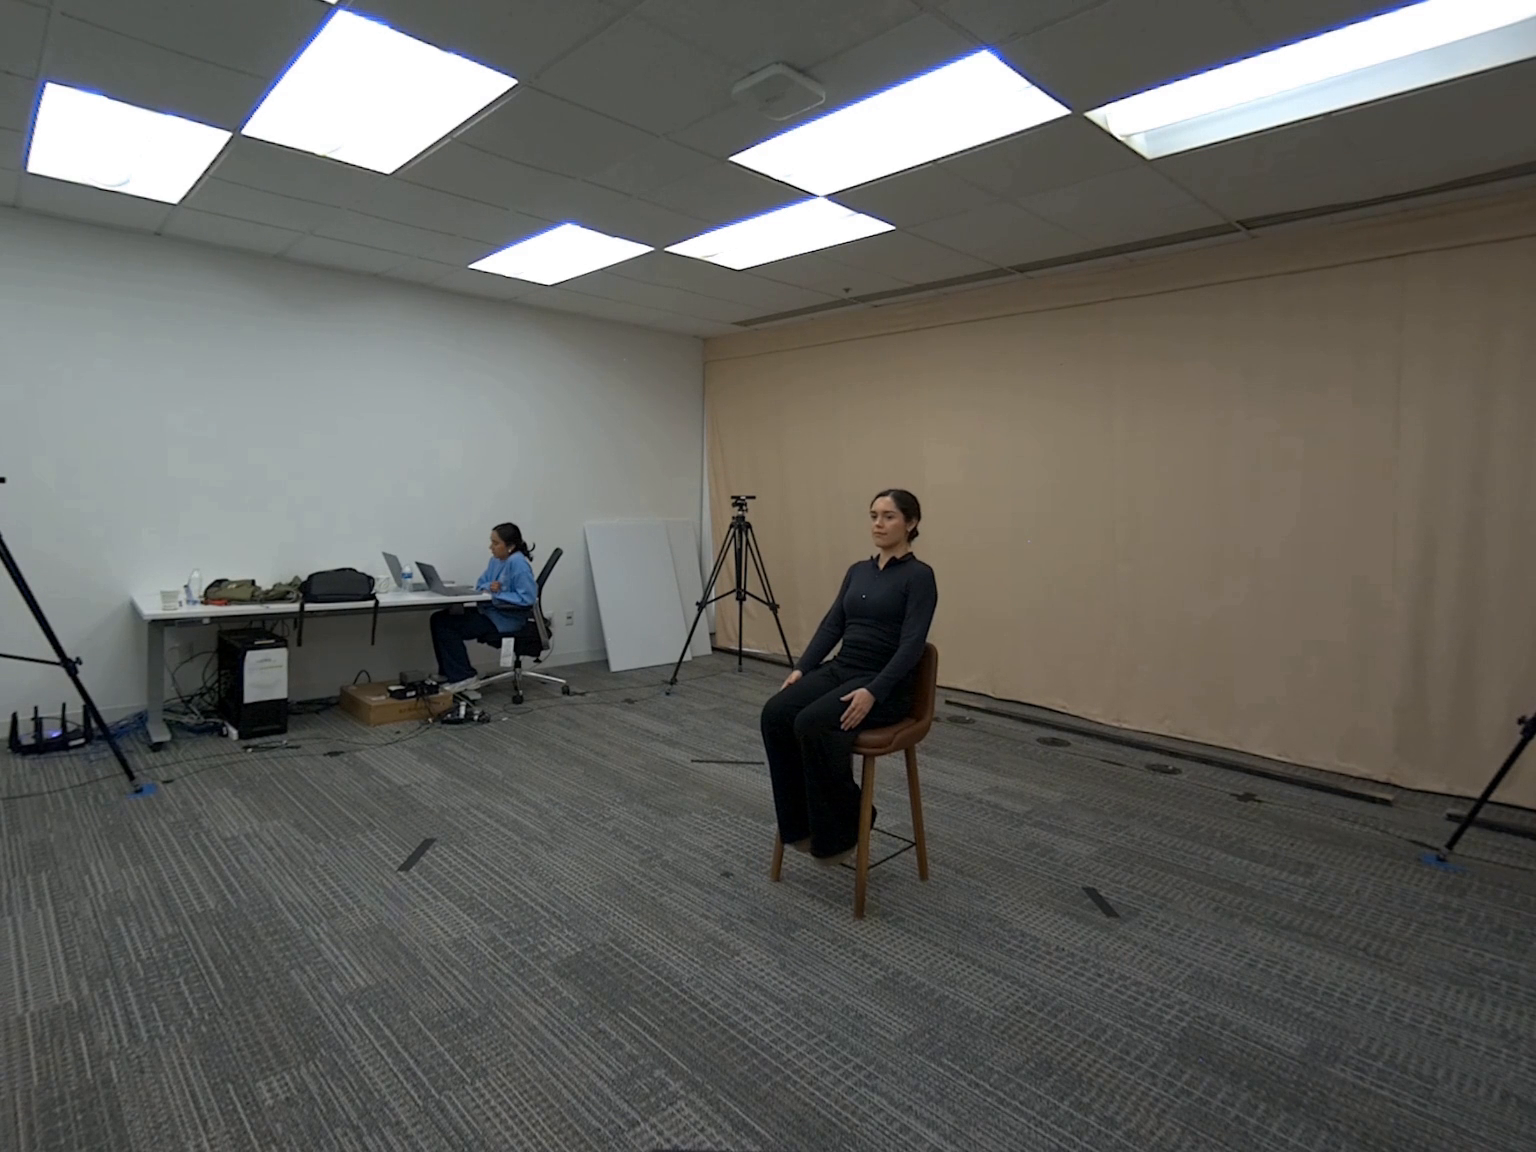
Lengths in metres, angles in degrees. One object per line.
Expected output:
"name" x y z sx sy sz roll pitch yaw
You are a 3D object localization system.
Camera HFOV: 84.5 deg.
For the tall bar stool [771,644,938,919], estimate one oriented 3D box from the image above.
"tall bar stool" 0.327 0.681 3.066 0.468 0.889 0.456 5 3 44
